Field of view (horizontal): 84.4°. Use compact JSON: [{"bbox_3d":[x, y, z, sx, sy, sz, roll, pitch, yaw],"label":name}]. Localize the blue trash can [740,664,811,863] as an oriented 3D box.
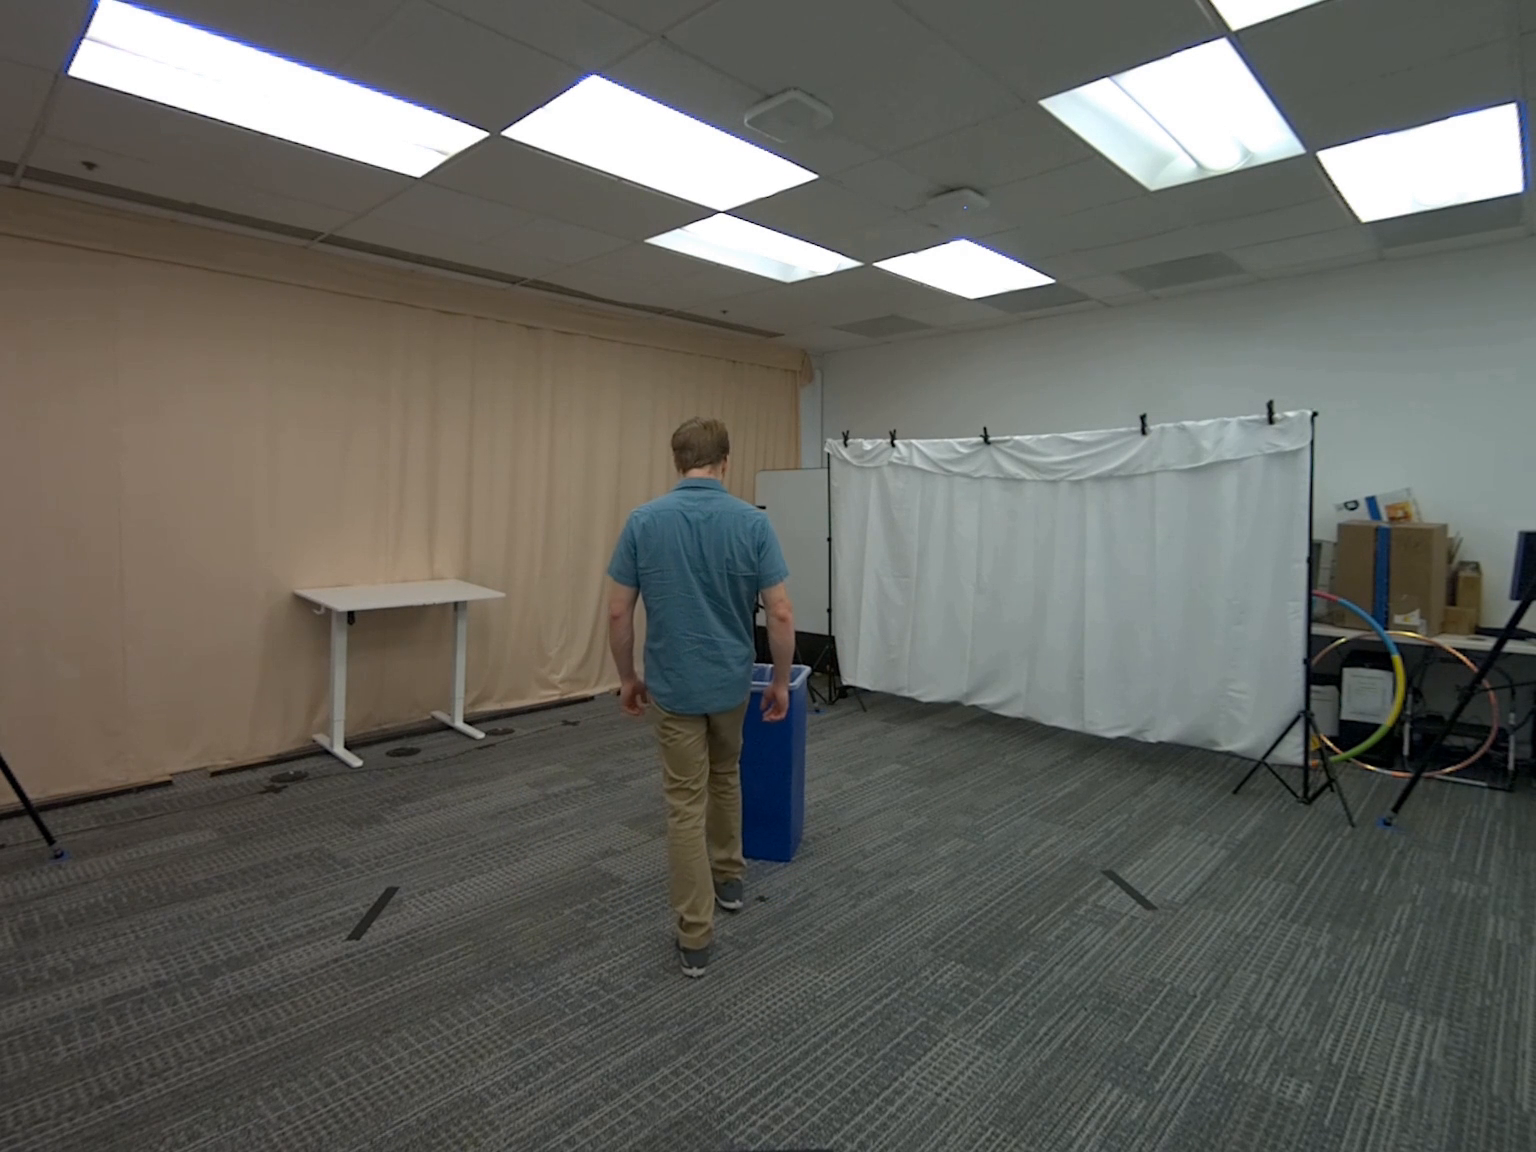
[{"bbox_3d":[-0.025,0.751,3.439,0.384,0.712,0.369,0,3,14],"label":"blue trash can"}]
